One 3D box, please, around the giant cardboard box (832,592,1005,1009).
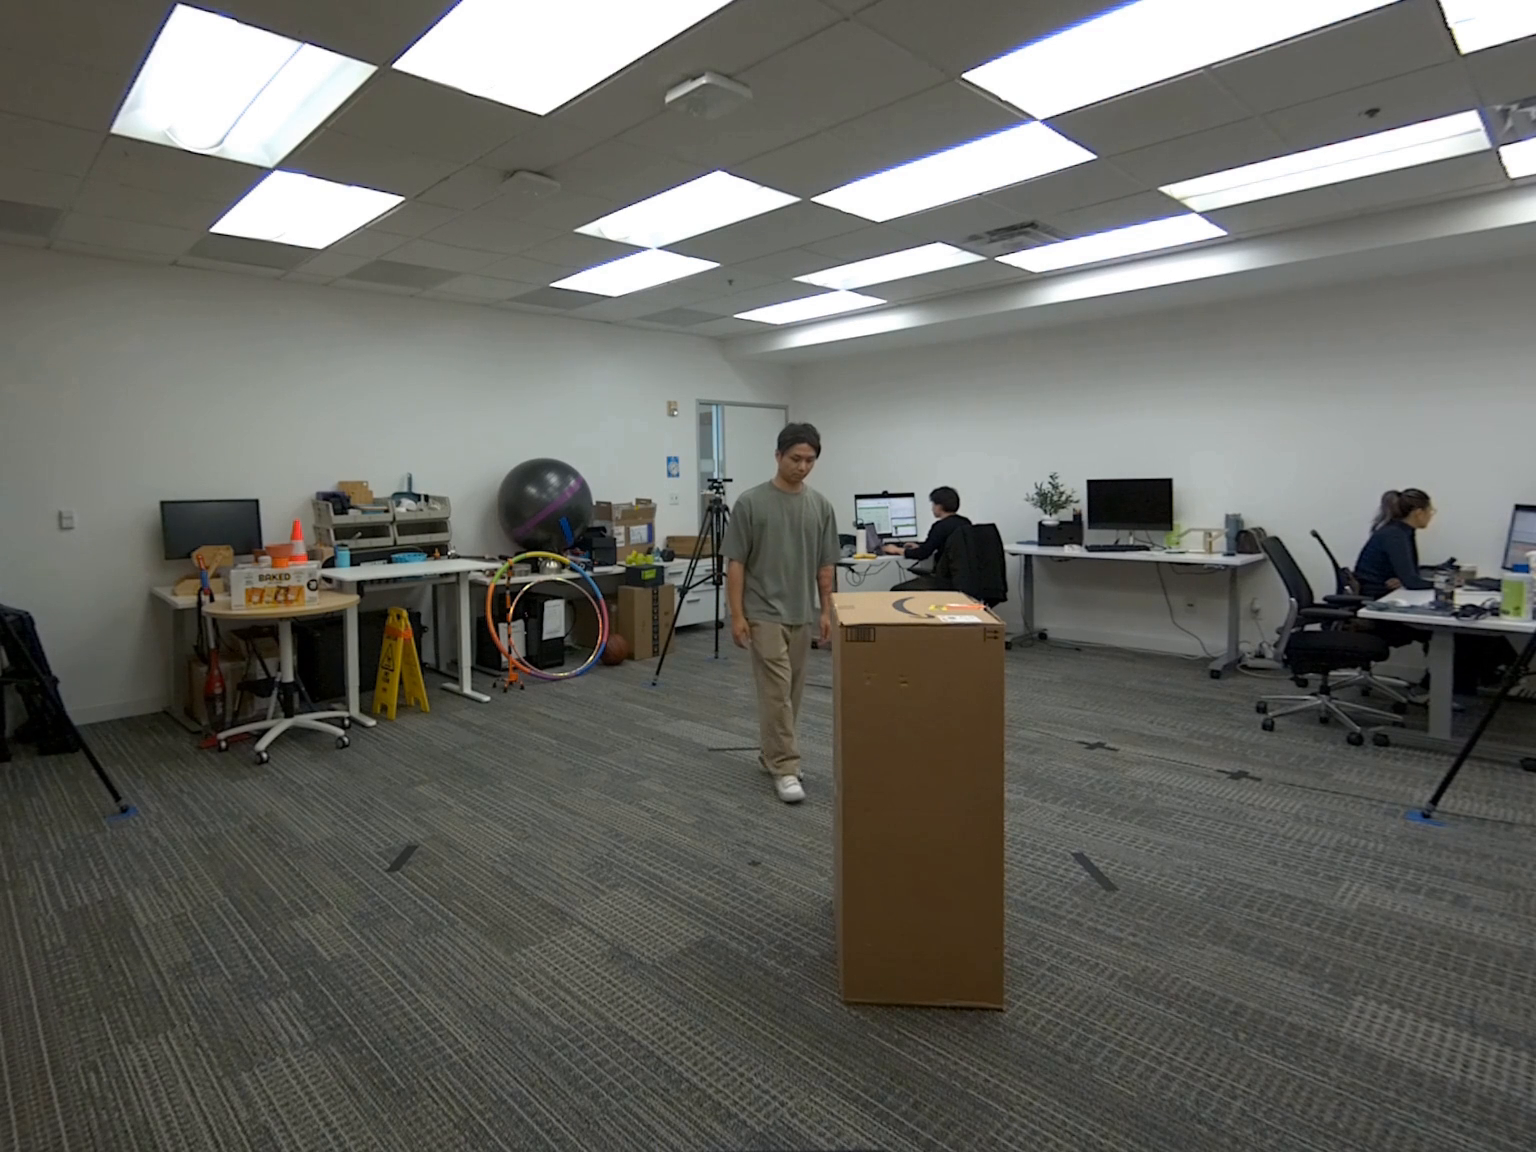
[{"bbox_3d":[0.418,0.599,2.494,0.428,1.022,0.577,-1,4,4],"label":"giant cardboard box"}]
